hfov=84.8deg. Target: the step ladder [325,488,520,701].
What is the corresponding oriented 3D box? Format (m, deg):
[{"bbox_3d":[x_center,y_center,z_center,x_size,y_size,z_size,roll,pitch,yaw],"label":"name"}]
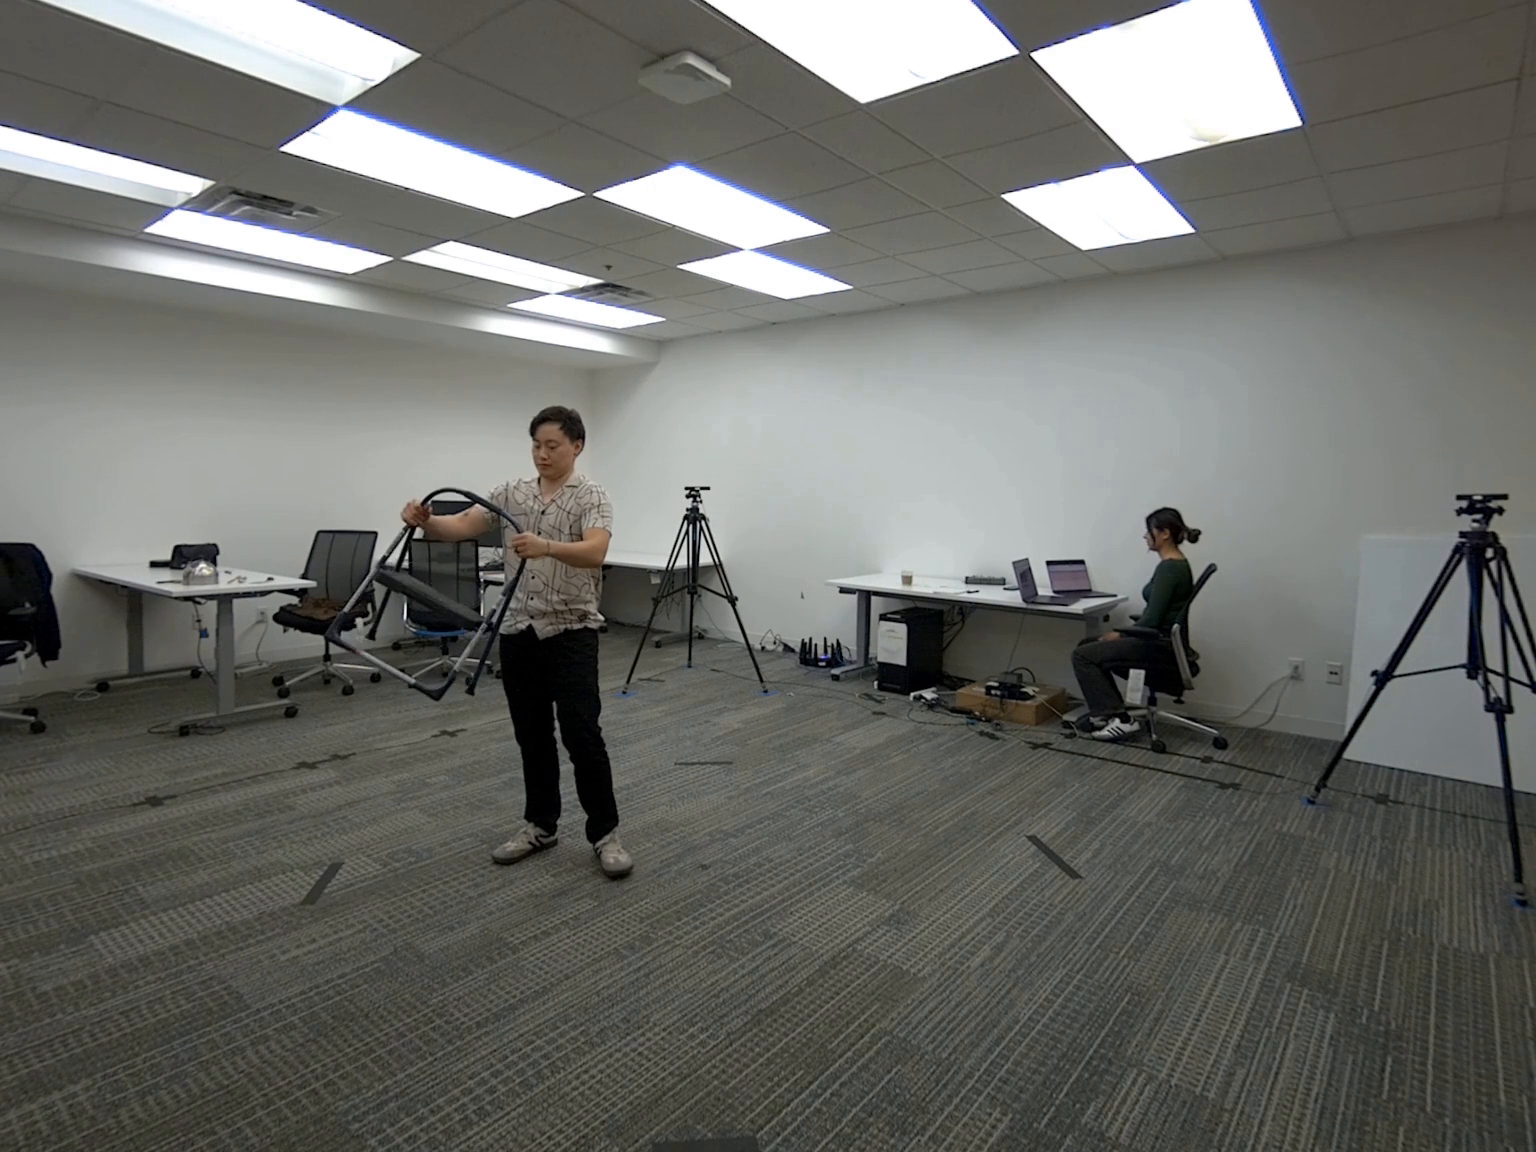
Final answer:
[{"bbox_3d":[-1.061,0.040,2.767,0.433,0.607,0.347,26,-4,3],"label":"step ladder"}]
